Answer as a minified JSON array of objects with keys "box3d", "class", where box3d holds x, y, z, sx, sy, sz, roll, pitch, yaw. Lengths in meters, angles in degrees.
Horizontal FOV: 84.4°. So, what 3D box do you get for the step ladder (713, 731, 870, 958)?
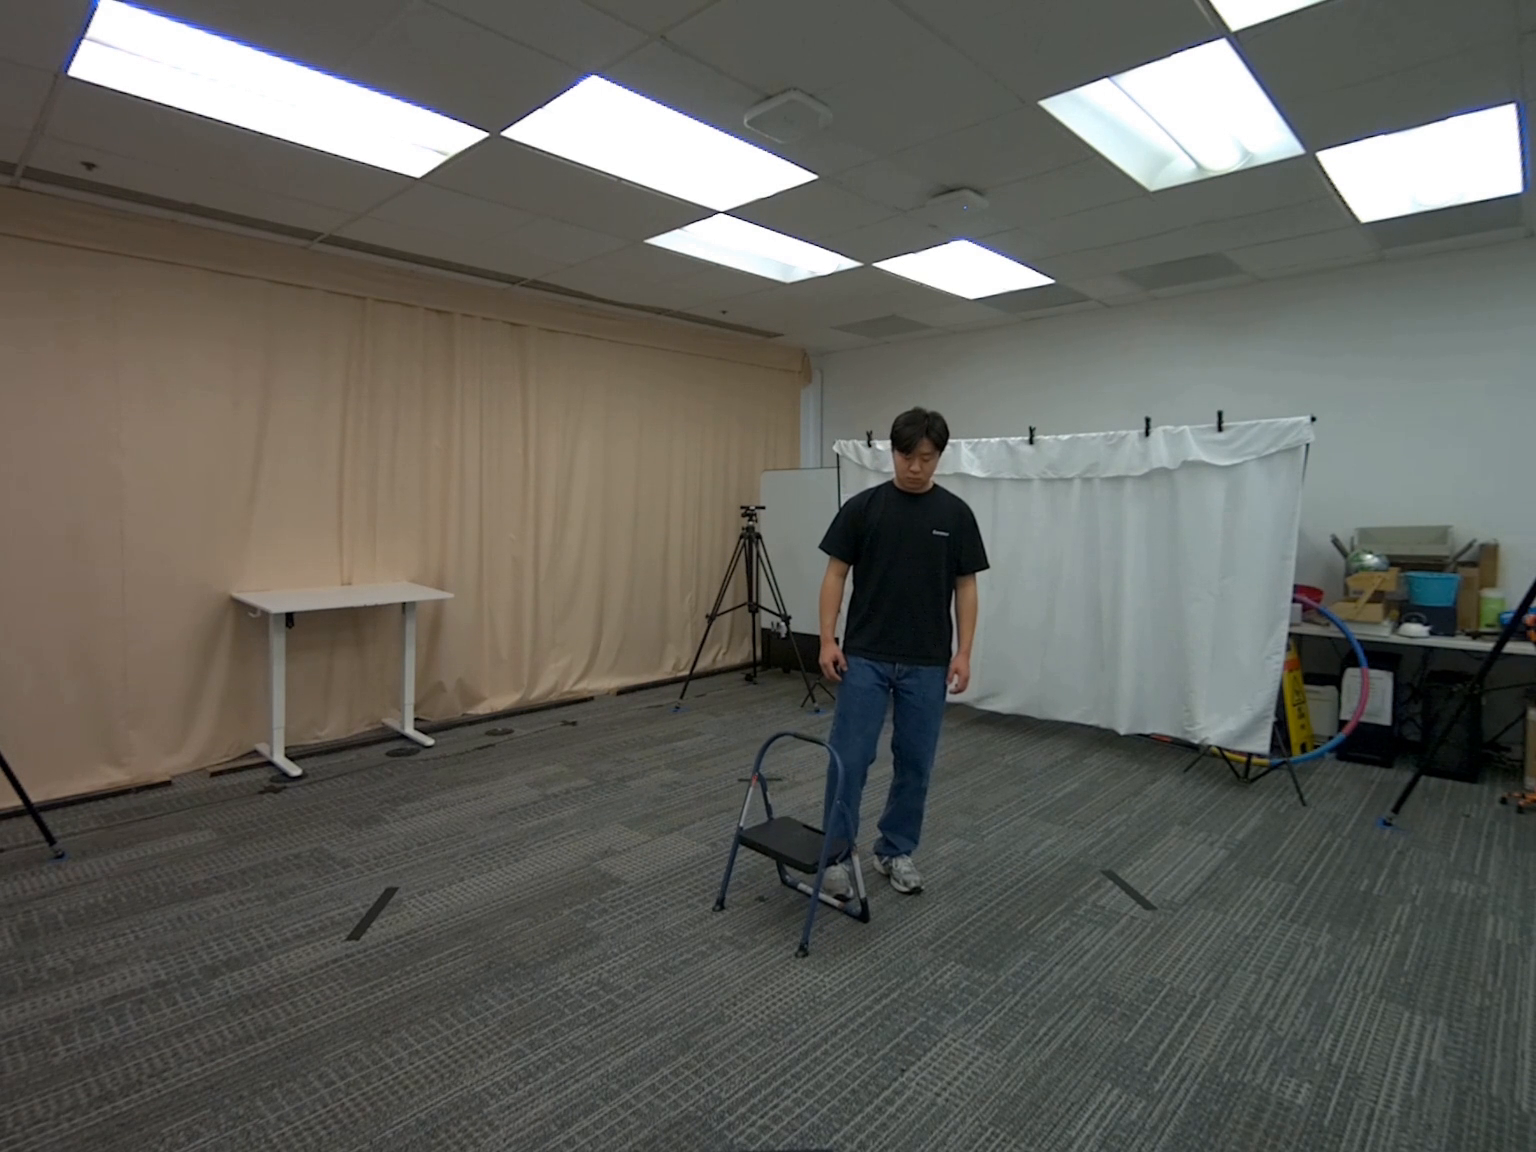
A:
[{"box3d":[0.082,0.850,2.845,0.338,0.605,0.445,-3,5,-43],"class":"step ladder"}]
